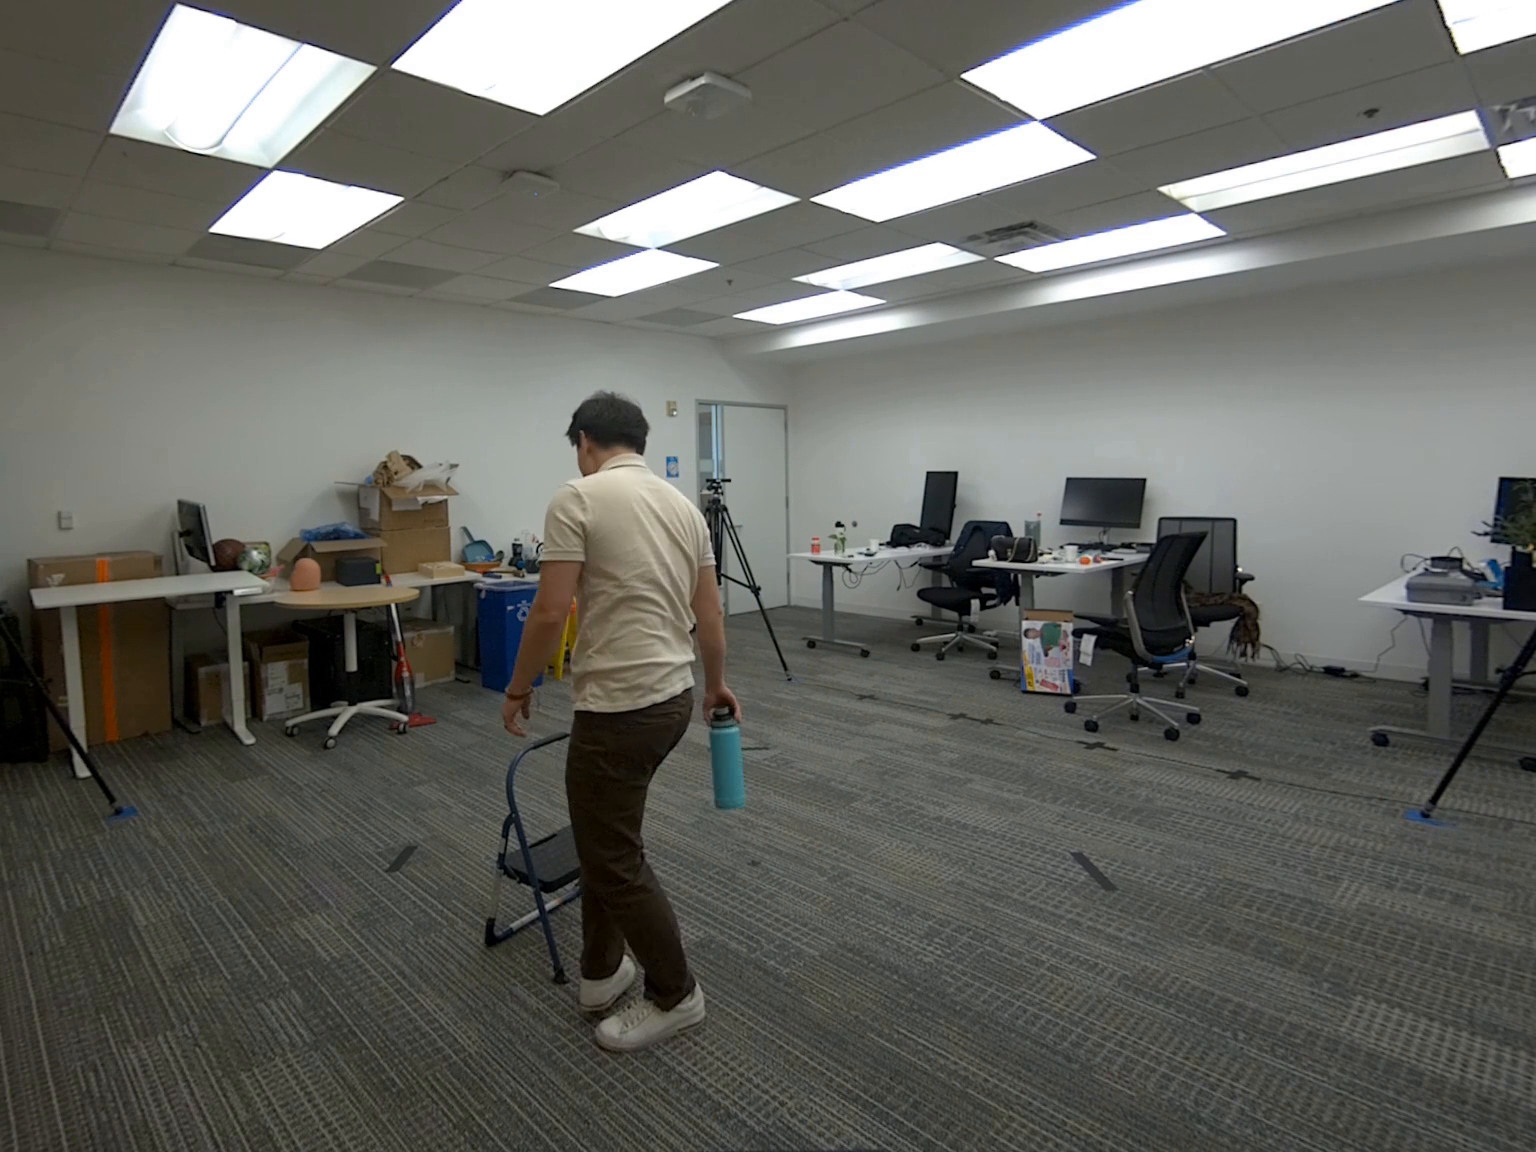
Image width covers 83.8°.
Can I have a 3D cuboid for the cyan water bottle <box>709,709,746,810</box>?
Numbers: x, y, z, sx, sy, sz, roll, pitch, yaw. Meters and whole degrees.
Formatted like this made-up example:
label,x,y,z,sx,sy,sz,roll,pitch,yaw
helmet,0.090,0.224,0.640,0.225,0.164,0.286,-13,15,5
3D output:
label,x,y,z,sx,sy,sz,roll,pitch,yaw
cyan water bottle,-0.125,0.521,2.455,0.092,0.284,0.092,-4,-1,-2
